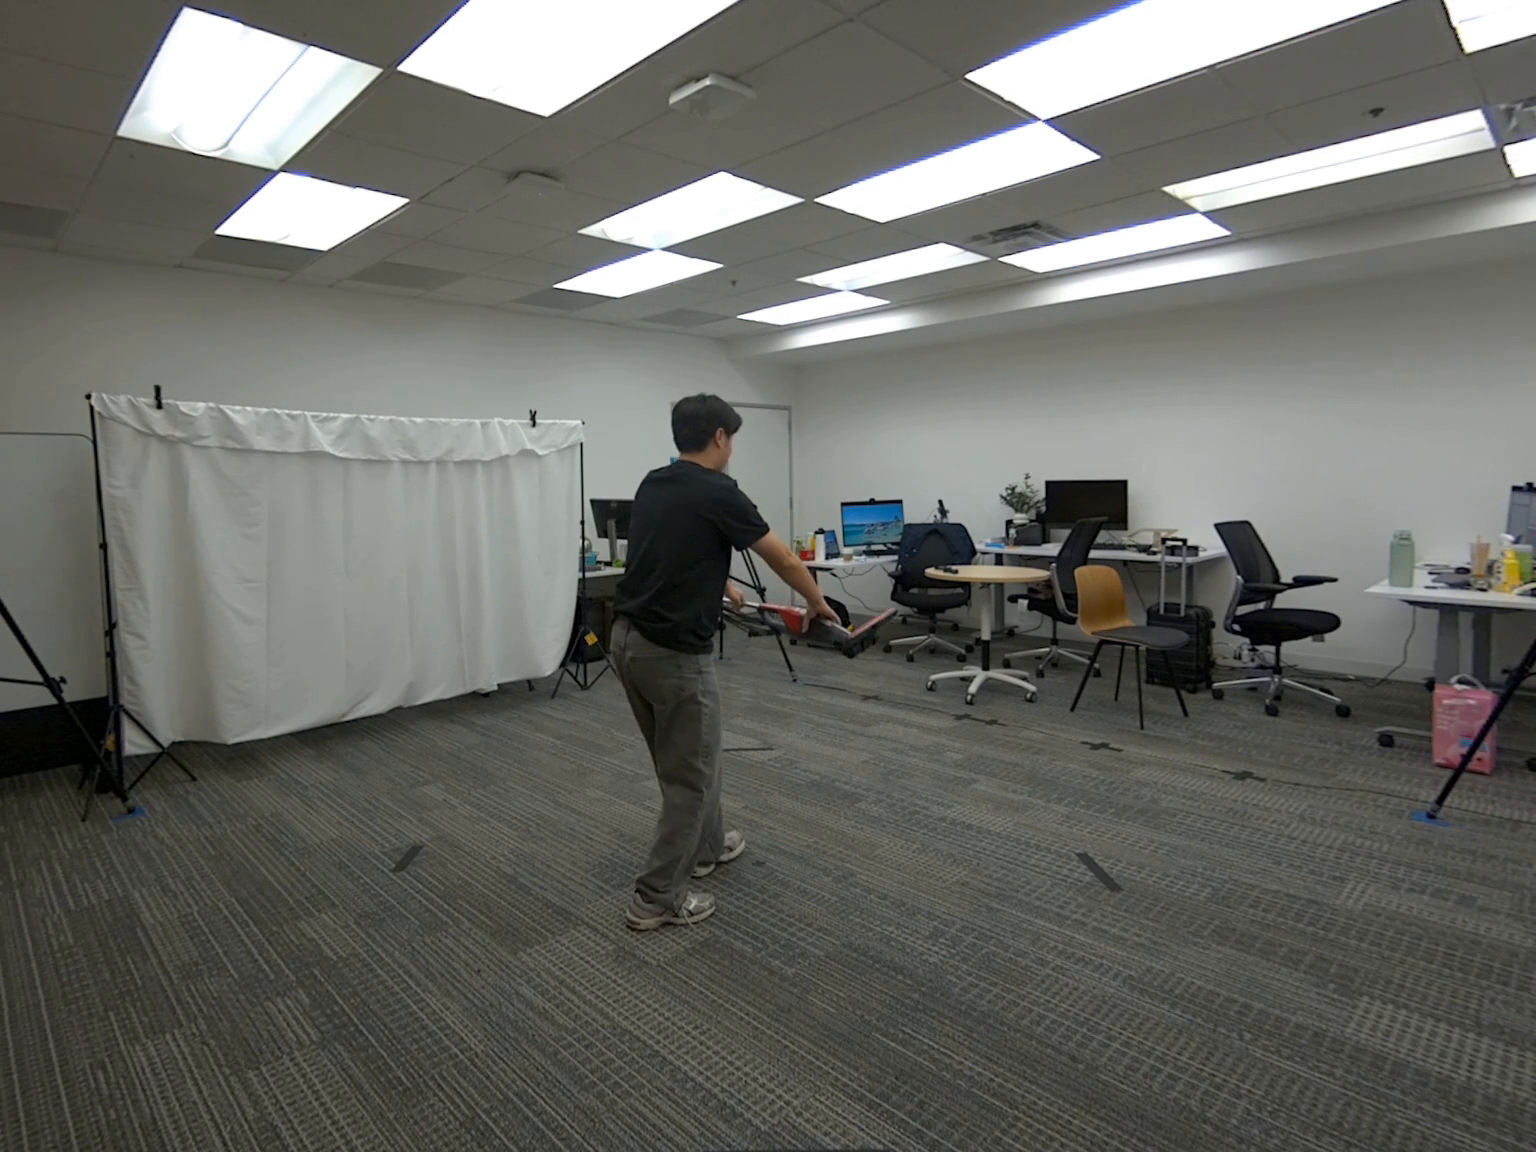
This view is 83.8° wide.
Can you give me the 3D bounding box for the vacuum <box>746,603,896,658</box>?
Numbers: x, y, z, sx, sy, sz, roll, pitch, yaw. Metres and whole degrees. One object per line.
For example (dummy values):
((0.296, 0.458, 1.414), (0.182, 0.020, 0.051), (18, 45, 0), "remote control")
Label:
((-0.011, 0.169, 3.259), (0.248, 0.142, 1.082), (-23, 19, -37), "vacuum")
